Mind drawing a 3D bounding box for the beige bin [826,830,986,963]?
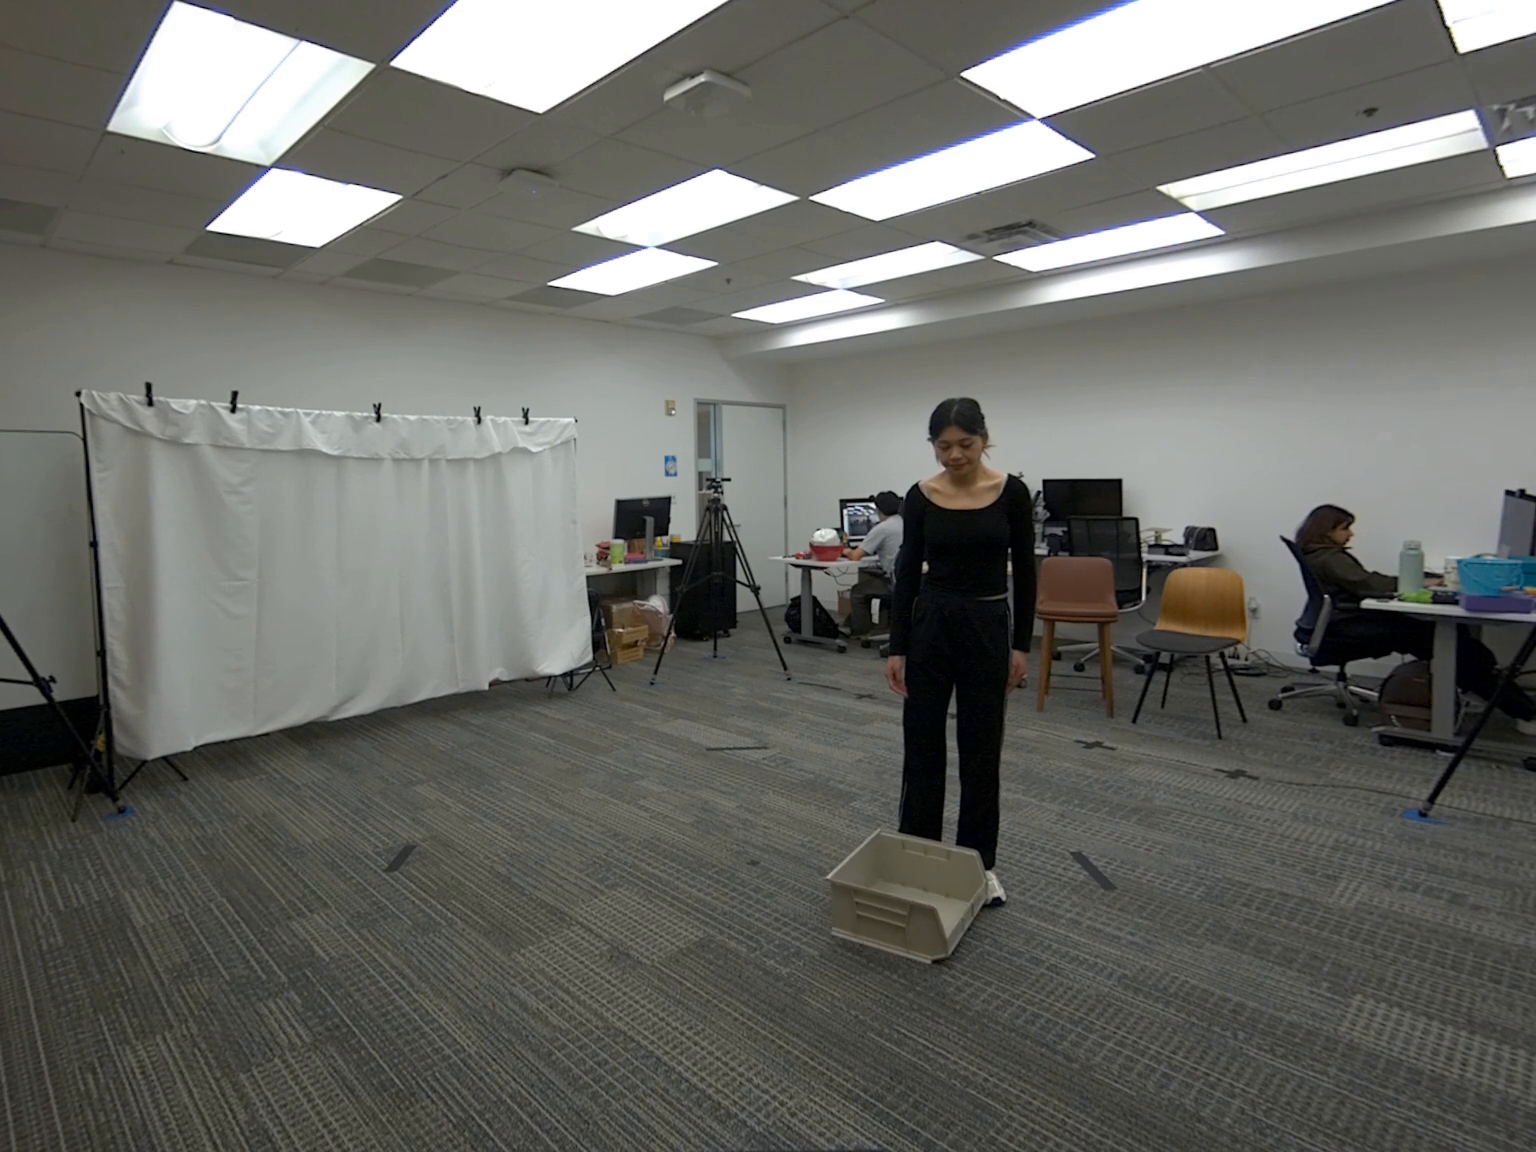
[{"bbox_3d":[0.449,0.993,2.681,0.387,0.188,0.413,1,7,31],"label":"beige bin"}]
